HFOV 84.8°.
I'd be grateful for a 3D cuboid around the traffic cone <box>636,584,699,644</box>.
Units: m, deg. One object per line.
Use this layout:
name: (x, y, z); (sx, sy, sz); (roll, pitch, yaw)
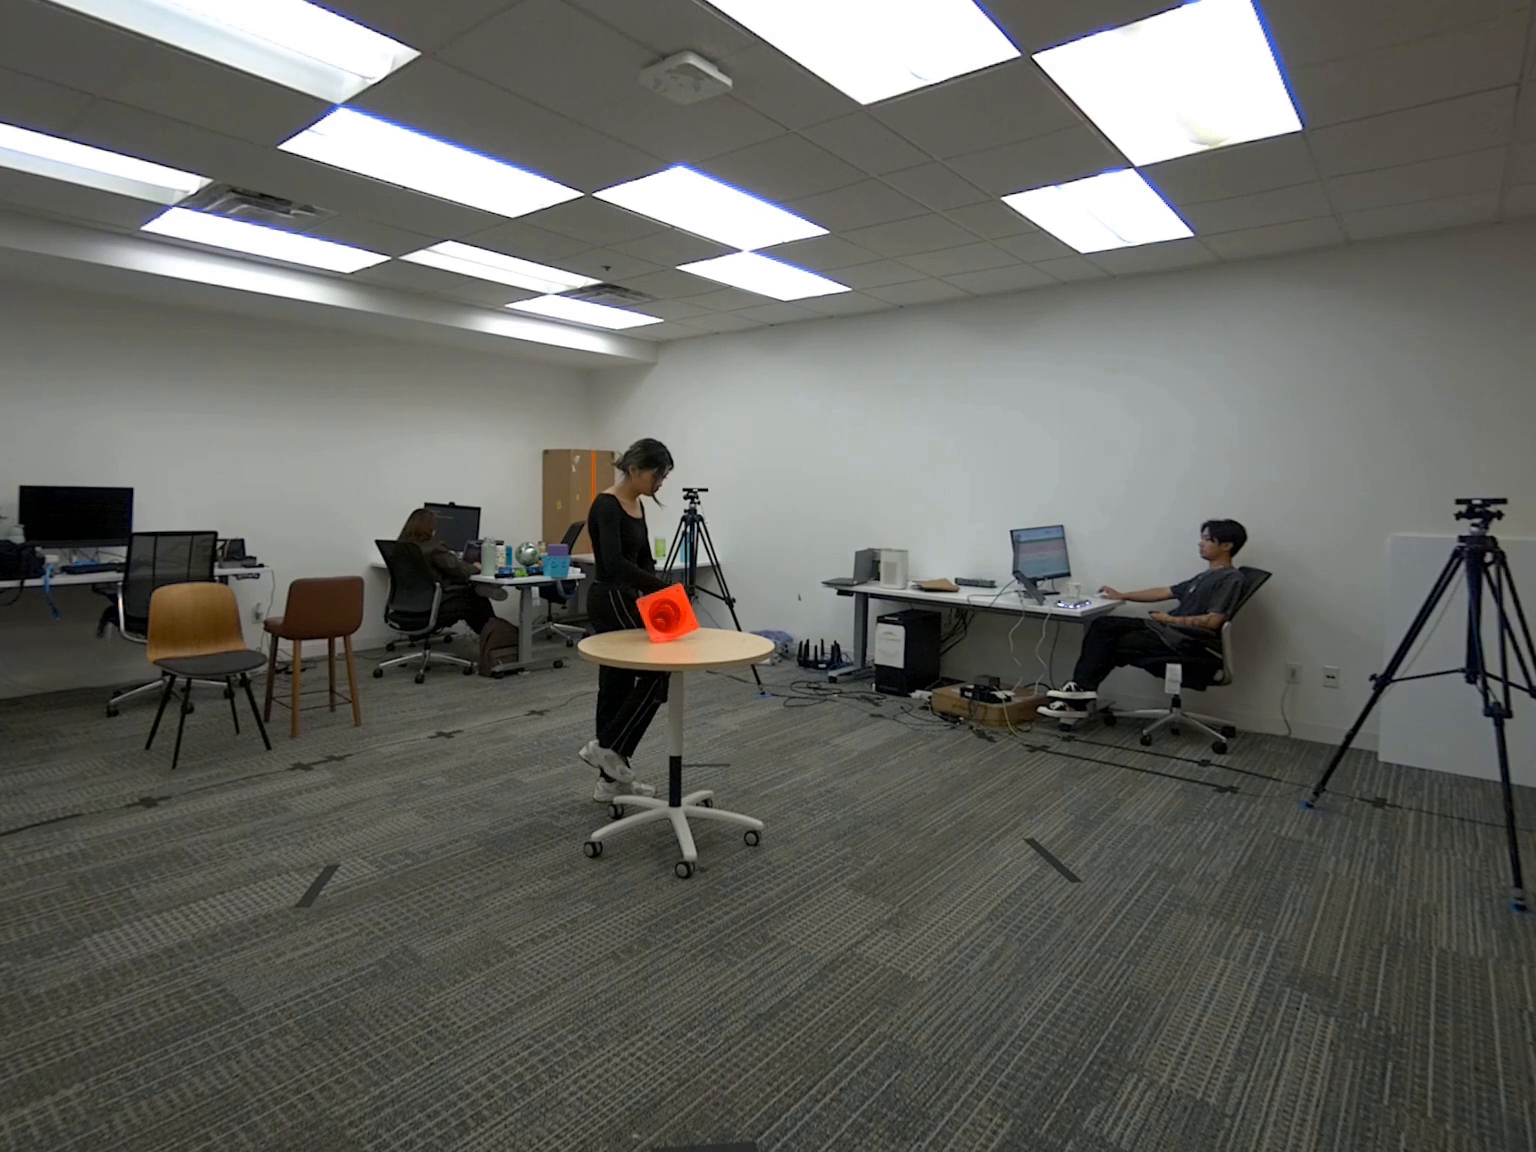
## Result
traffic cone: (-0.460, 0.167, 3.563); (0.201, 0.206, 0.386); (-15, -2, -16)
